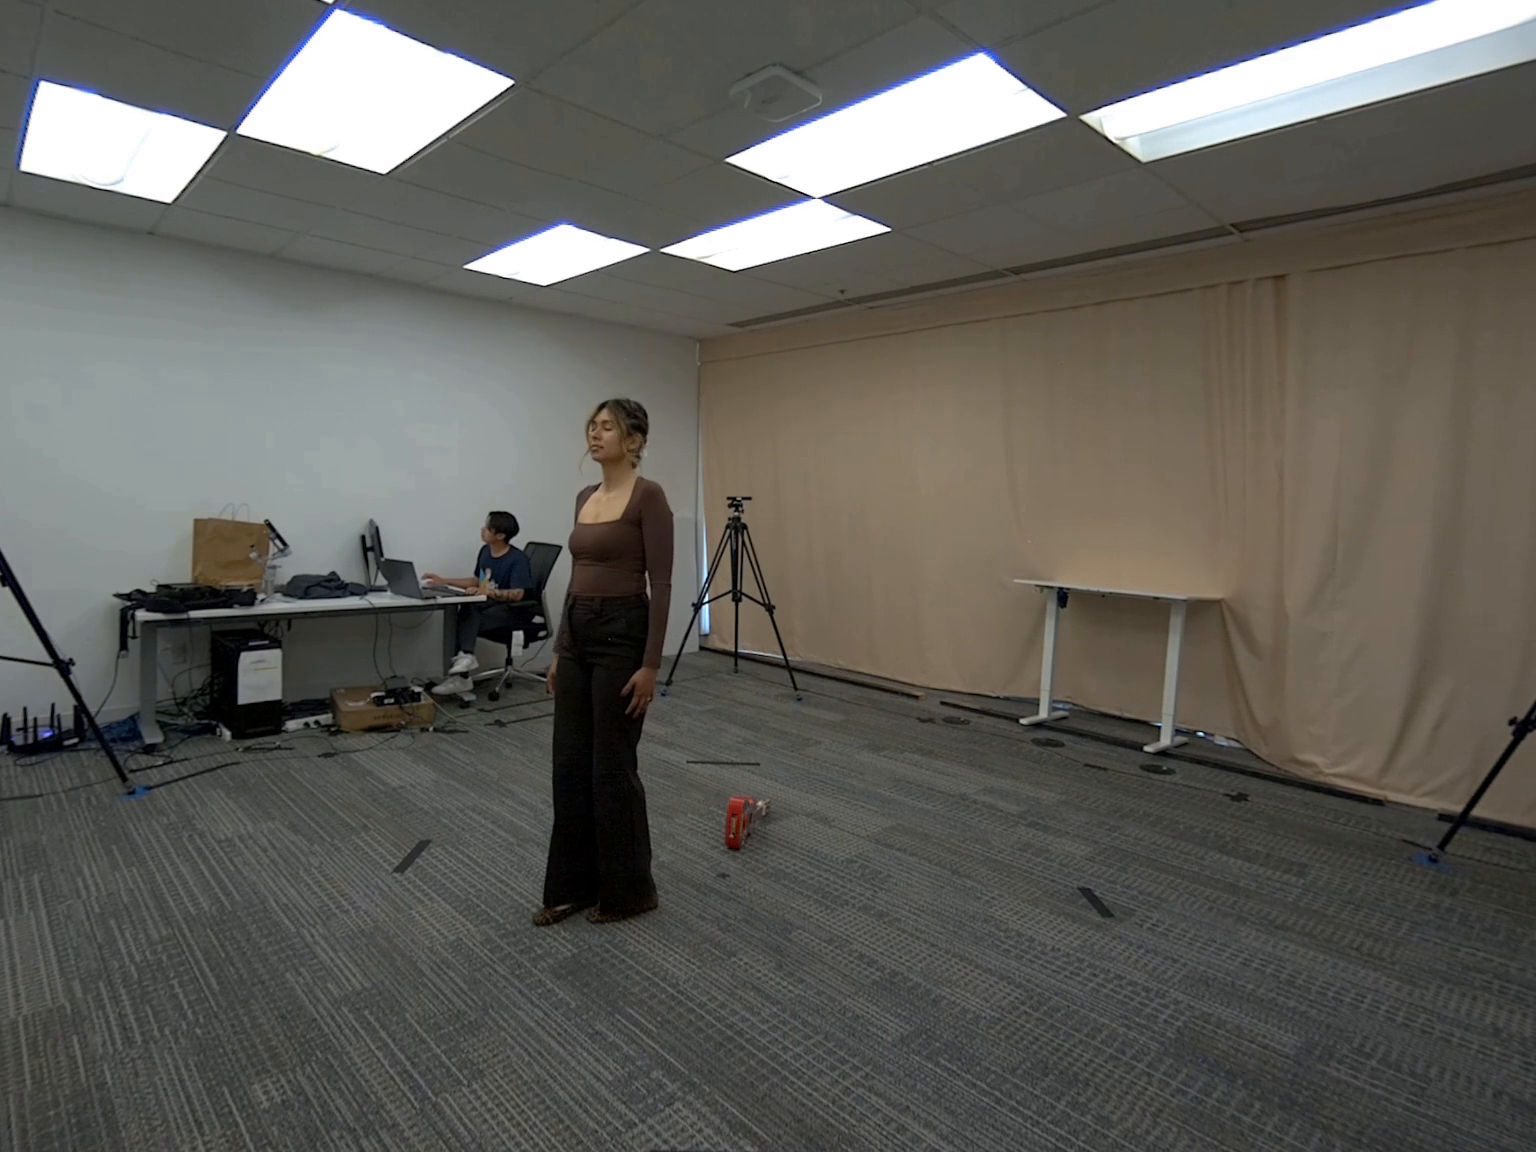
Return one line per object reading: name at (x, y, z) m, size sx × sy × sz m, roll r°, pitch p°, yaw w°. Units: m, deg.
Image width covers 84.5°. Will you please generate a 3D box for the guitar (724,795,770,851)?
guitar at (-0.084, 1.020, 3.530) m, size 0.071 × 0.194 × 0.487 m, roll 3°, pitch -13°, yaw 15°
